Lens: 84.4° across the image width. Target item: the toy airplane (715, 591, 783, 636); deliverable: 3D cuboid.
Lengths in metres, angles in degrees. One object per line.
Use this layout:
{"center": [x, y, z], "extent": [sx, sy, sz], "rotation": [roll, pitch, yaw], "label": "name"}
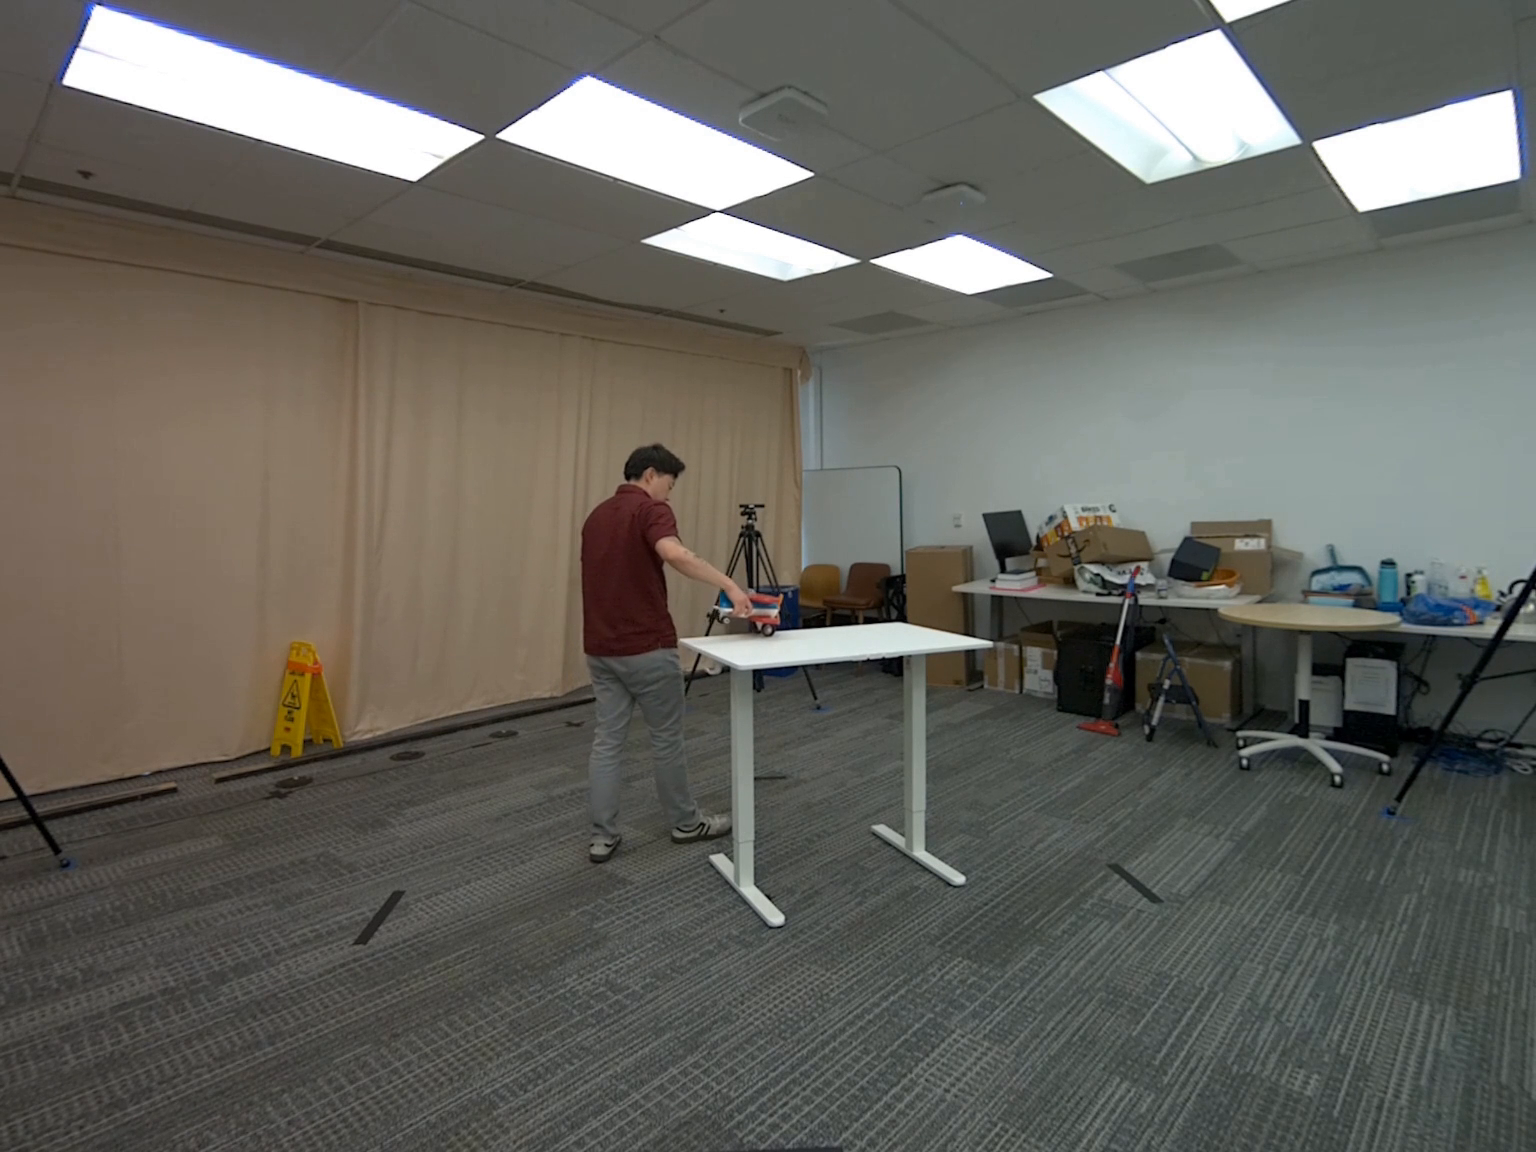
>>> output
{"center": [-0.065, 0.135, 3.254], "extent": [0.260, 0.156, 0.250], "rotation": [13, -5, 39], "label": "toy airplane"}
